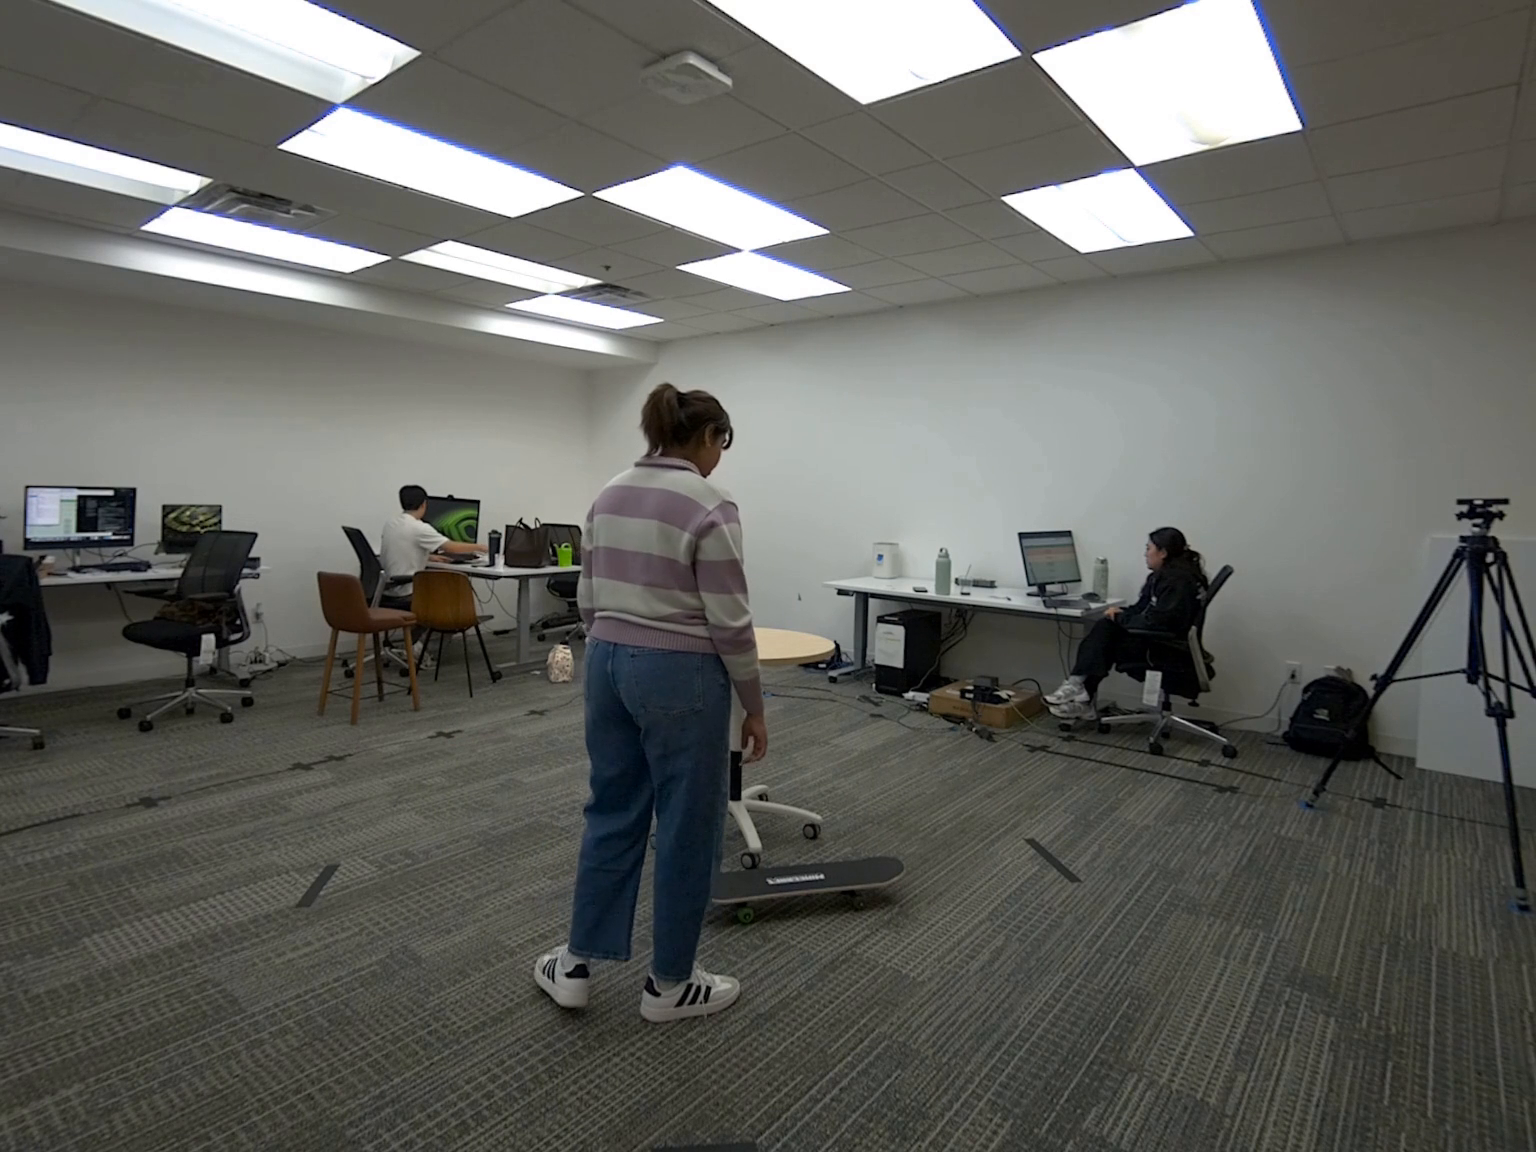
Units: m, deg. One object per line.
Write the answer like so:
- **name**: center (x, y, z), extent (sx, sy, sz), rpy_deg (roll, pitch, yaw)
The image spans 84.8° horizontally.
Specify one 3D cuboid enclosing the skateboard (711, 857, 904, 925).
- **skateboard**: center (0.088, 1.044, 2.859), extent (0.773, 0.110, 0.197), rpy_deg (-1, 5, -16)
